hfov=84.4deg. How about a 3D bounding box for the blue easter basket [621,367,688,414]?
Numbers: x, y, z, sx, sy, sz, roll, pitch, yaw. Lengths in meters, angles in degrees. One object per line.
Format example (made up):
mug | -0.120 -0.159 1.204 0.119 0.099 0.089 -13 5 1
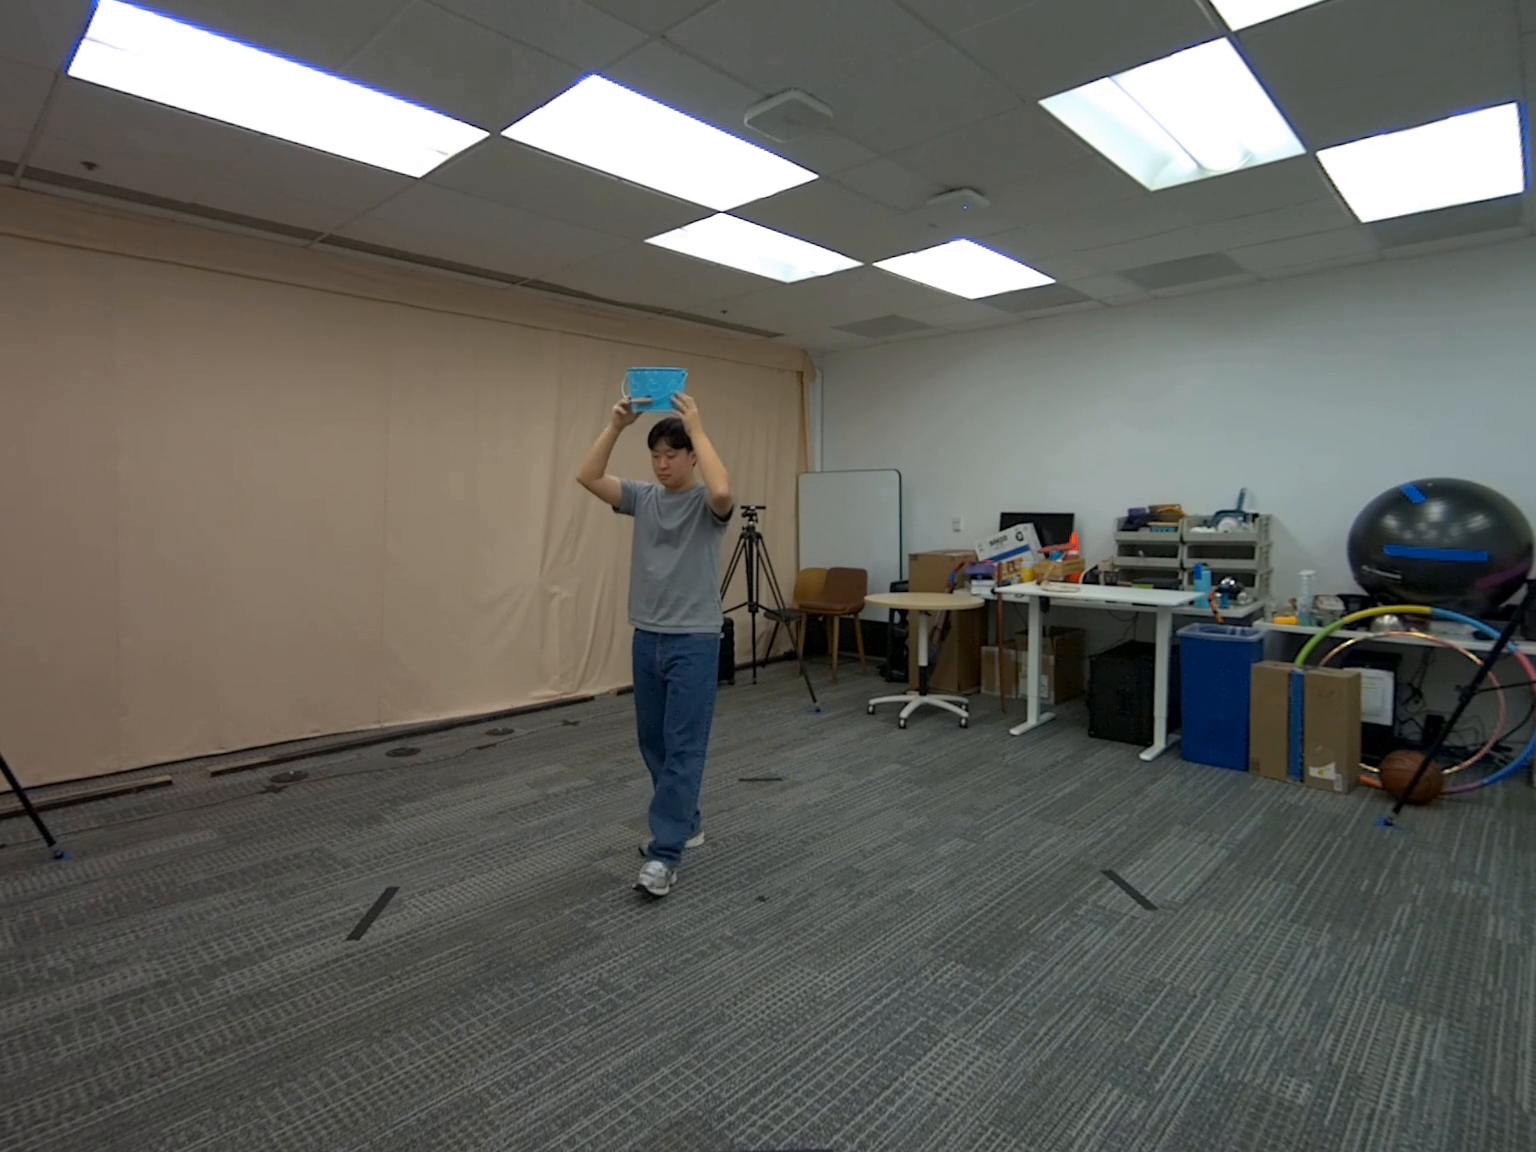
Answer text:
blue easter basket | -0.417 -0.658 3.087 0.243 0.155 0.245 0 10 -2
